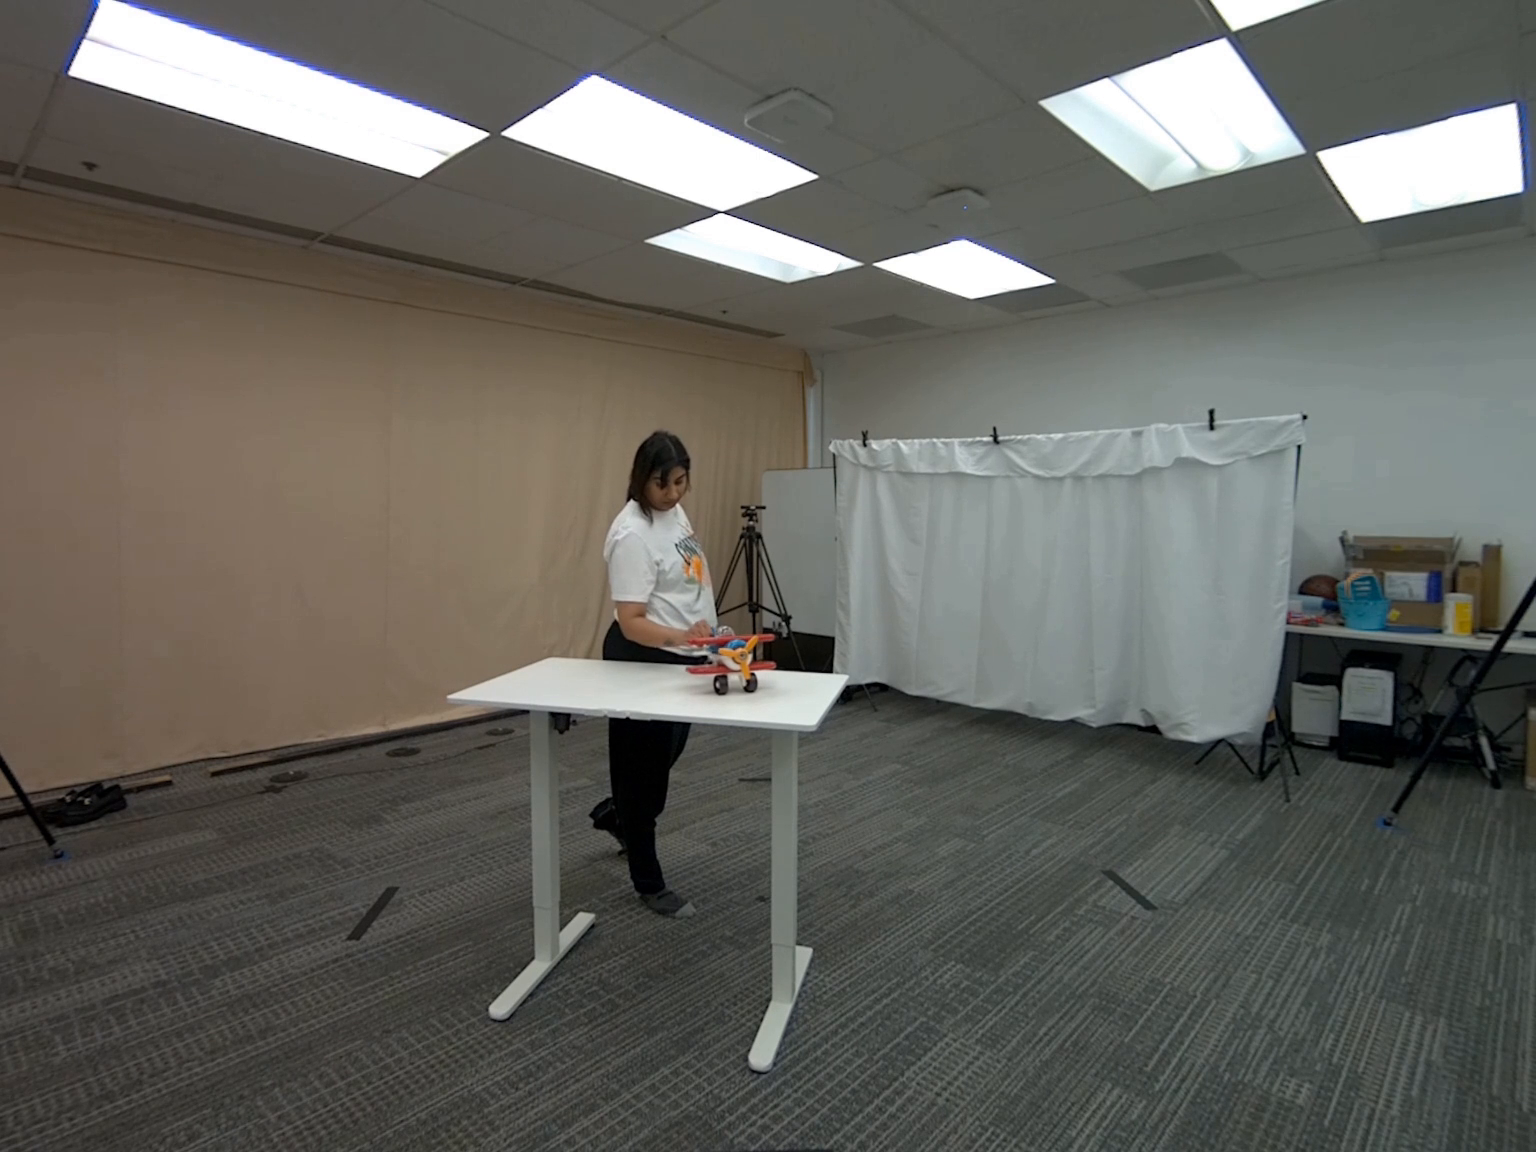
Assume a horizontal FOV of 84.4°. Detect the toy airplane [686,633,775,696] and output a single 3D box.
[{"bbox_3d":[-0.129,0.232,2.357,0.268,0.155,0.244,12,15,40],"label":"toy airplane"}]
